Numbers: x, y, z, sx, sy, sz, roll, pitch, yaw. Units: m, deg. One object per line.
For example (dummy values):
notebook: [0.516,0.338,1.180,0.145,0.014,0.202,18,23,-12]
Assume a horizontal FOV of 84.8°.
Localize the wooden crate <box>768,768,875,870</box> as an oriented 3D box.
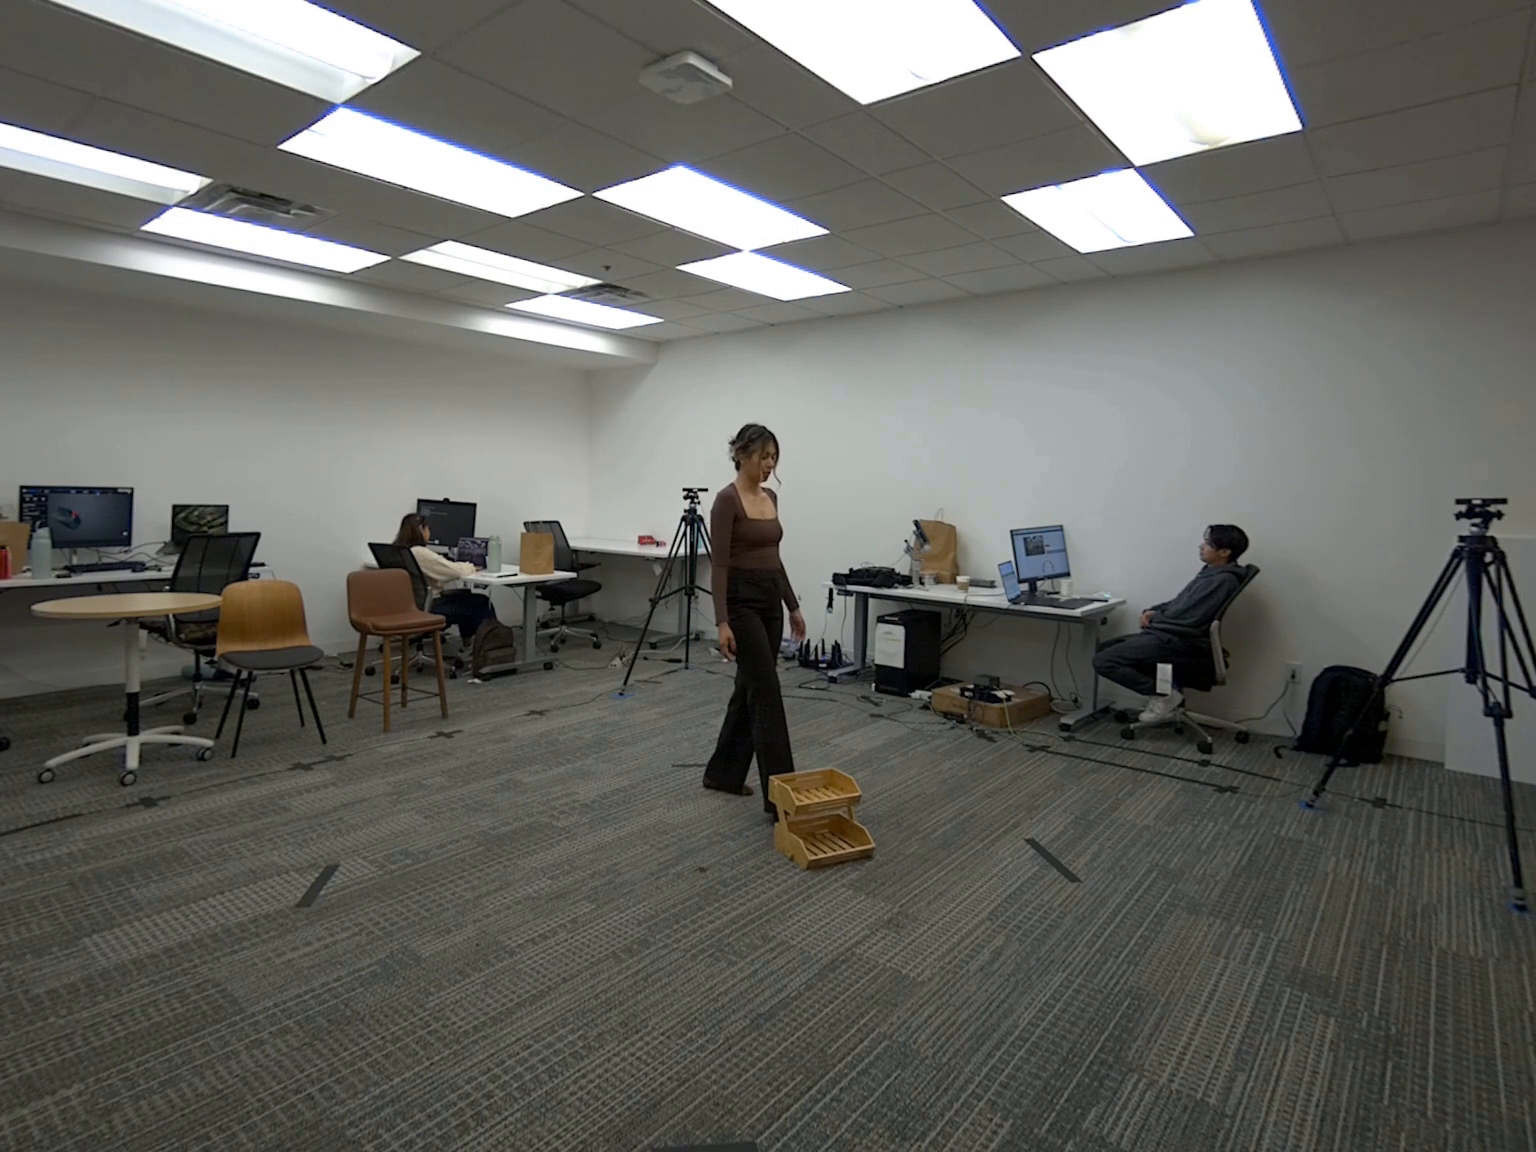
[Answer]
wooden crate: [0.198,0.925,3.304,0.316,0.272,0.311,-1,4,-29]
